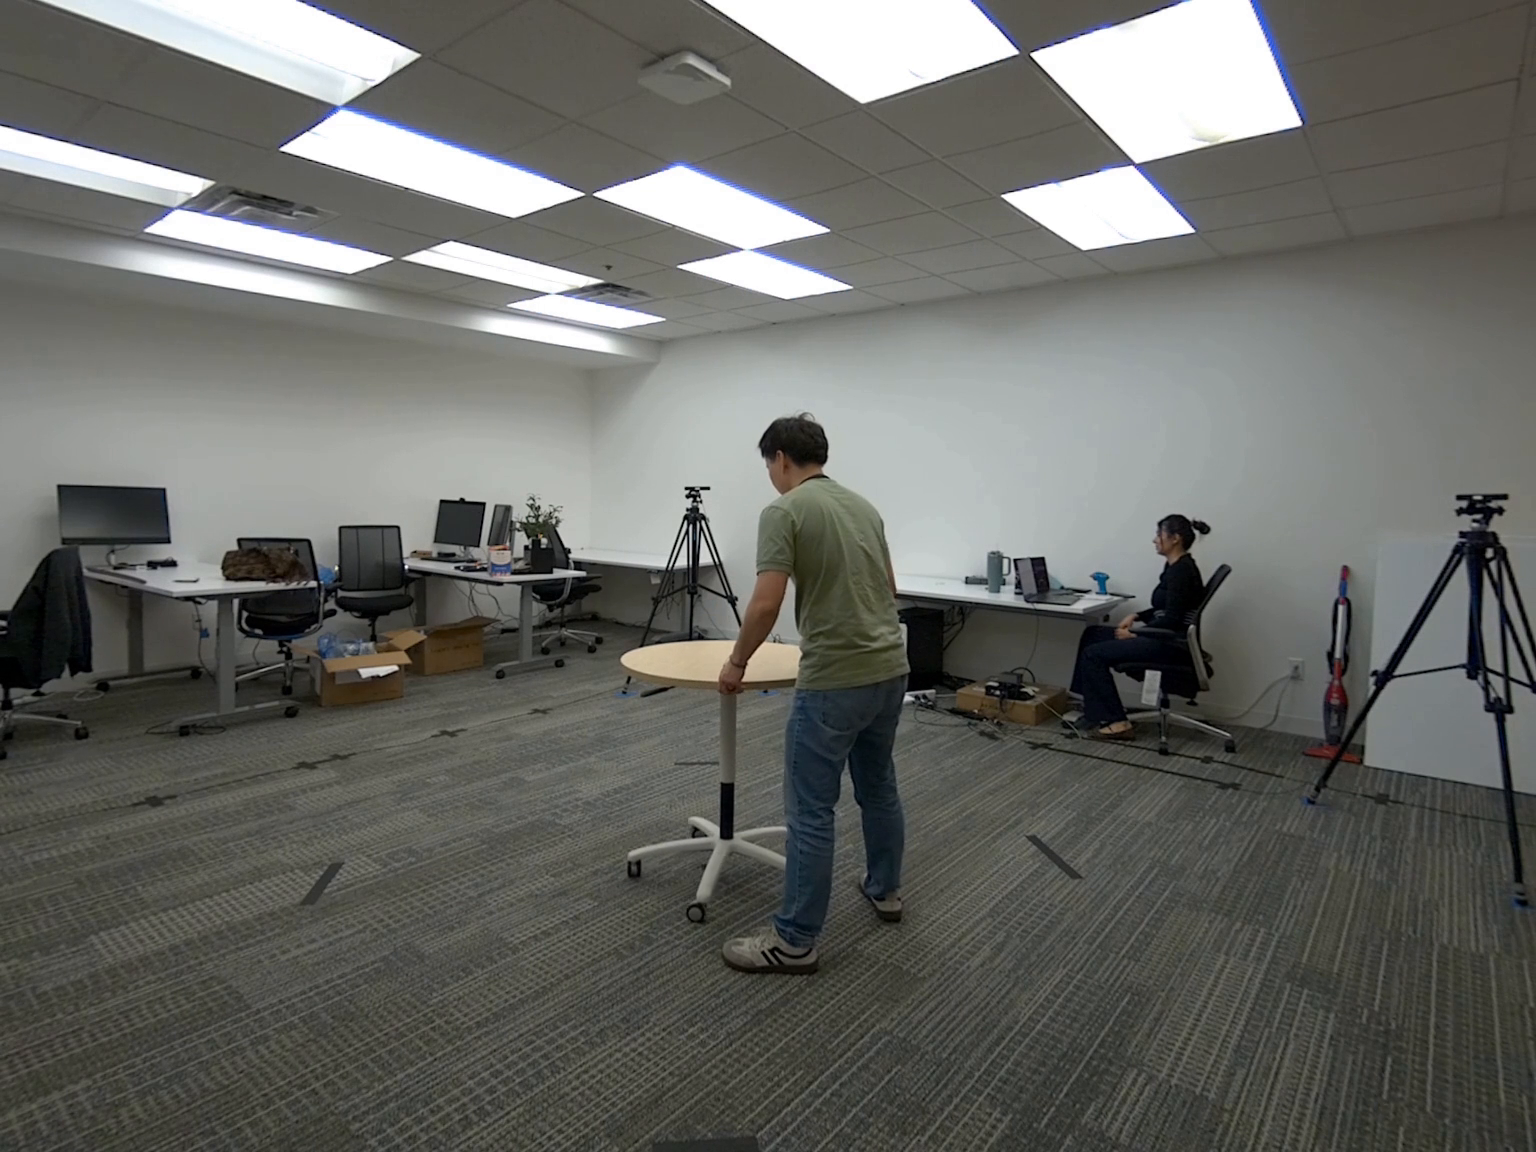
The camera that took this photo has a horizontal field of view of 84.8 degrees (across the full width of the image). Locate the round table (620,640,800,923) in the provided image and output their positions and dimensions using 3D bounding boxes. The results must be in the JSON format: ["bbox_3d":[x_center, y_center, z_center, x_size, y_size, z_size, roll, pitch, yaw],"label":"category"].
[{"bbox_3d":[-0.160,0.684,3.033,0.763,0.791,0.768,1,4,-2],"label":"round table"}]
